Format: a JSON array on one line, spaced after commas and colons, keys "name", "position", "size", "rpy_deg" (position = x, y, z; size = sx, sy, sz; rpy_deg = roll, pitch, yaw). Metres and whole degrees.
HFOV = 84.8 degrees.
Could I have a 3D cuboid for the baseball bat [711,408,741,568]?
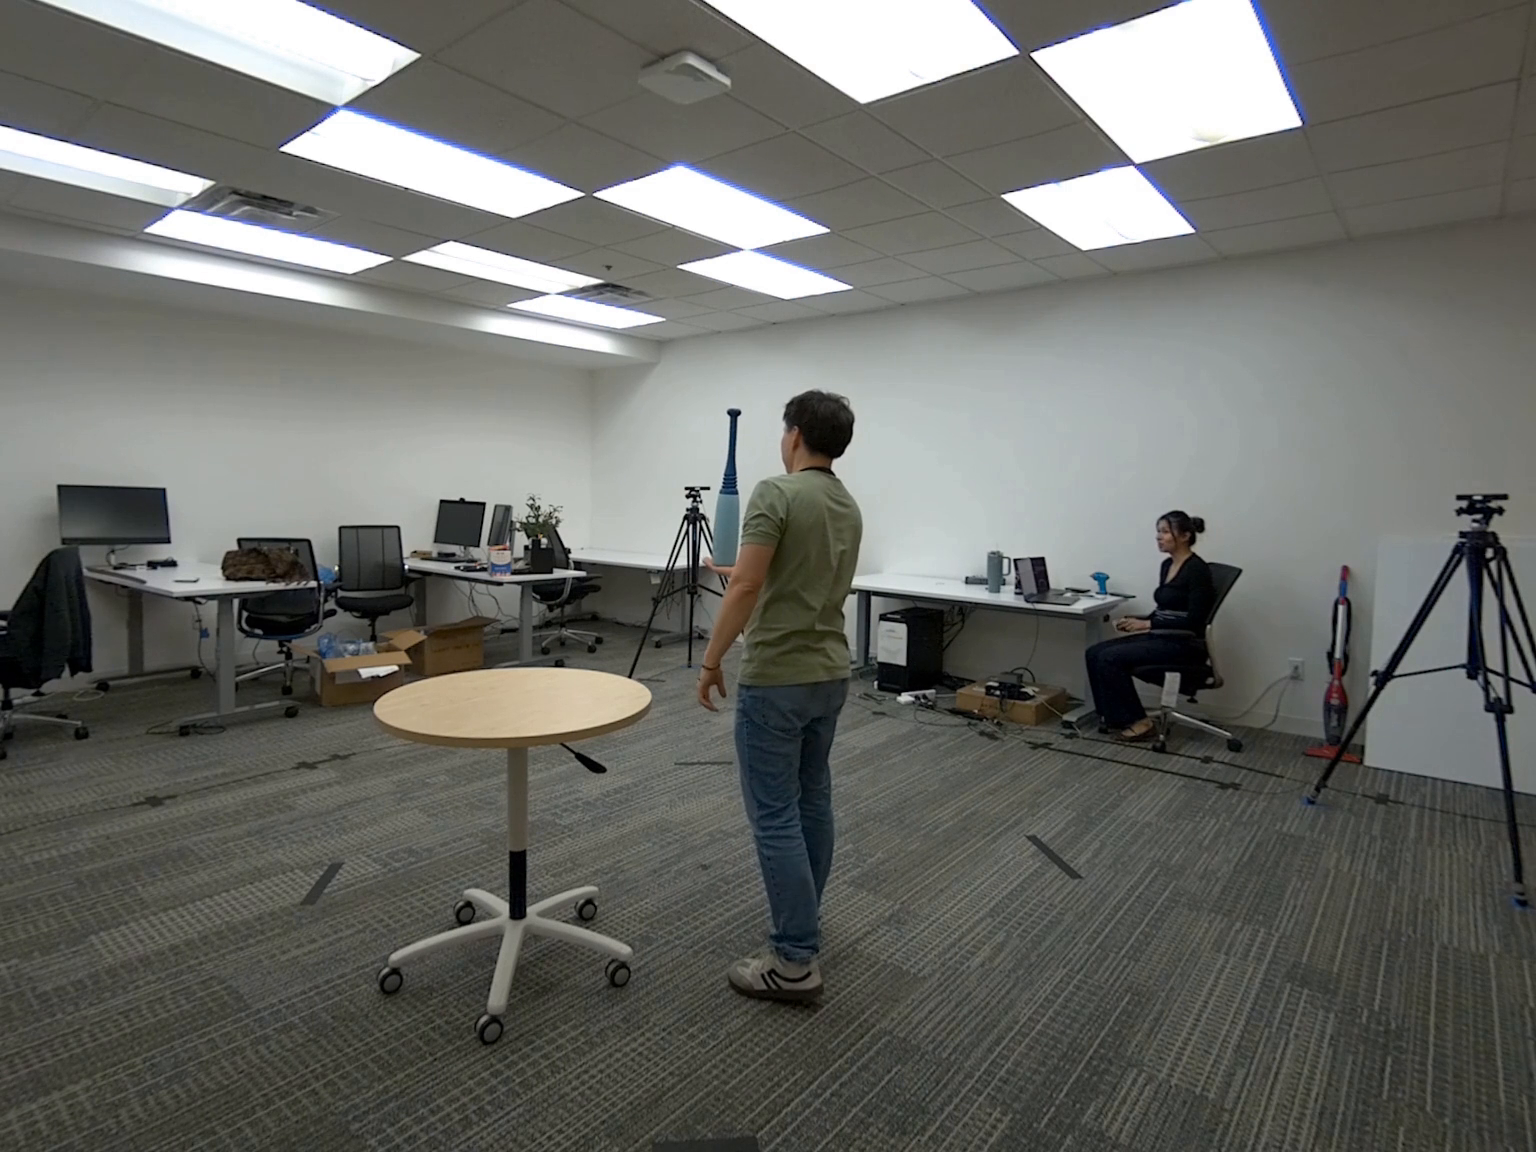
[{"name": "baseball bat", "position": [-0.146, -0.302, 2.912], "size": [0.089, 0.540, 0.089], "rpy_deg": [1, 5, -2]}]
